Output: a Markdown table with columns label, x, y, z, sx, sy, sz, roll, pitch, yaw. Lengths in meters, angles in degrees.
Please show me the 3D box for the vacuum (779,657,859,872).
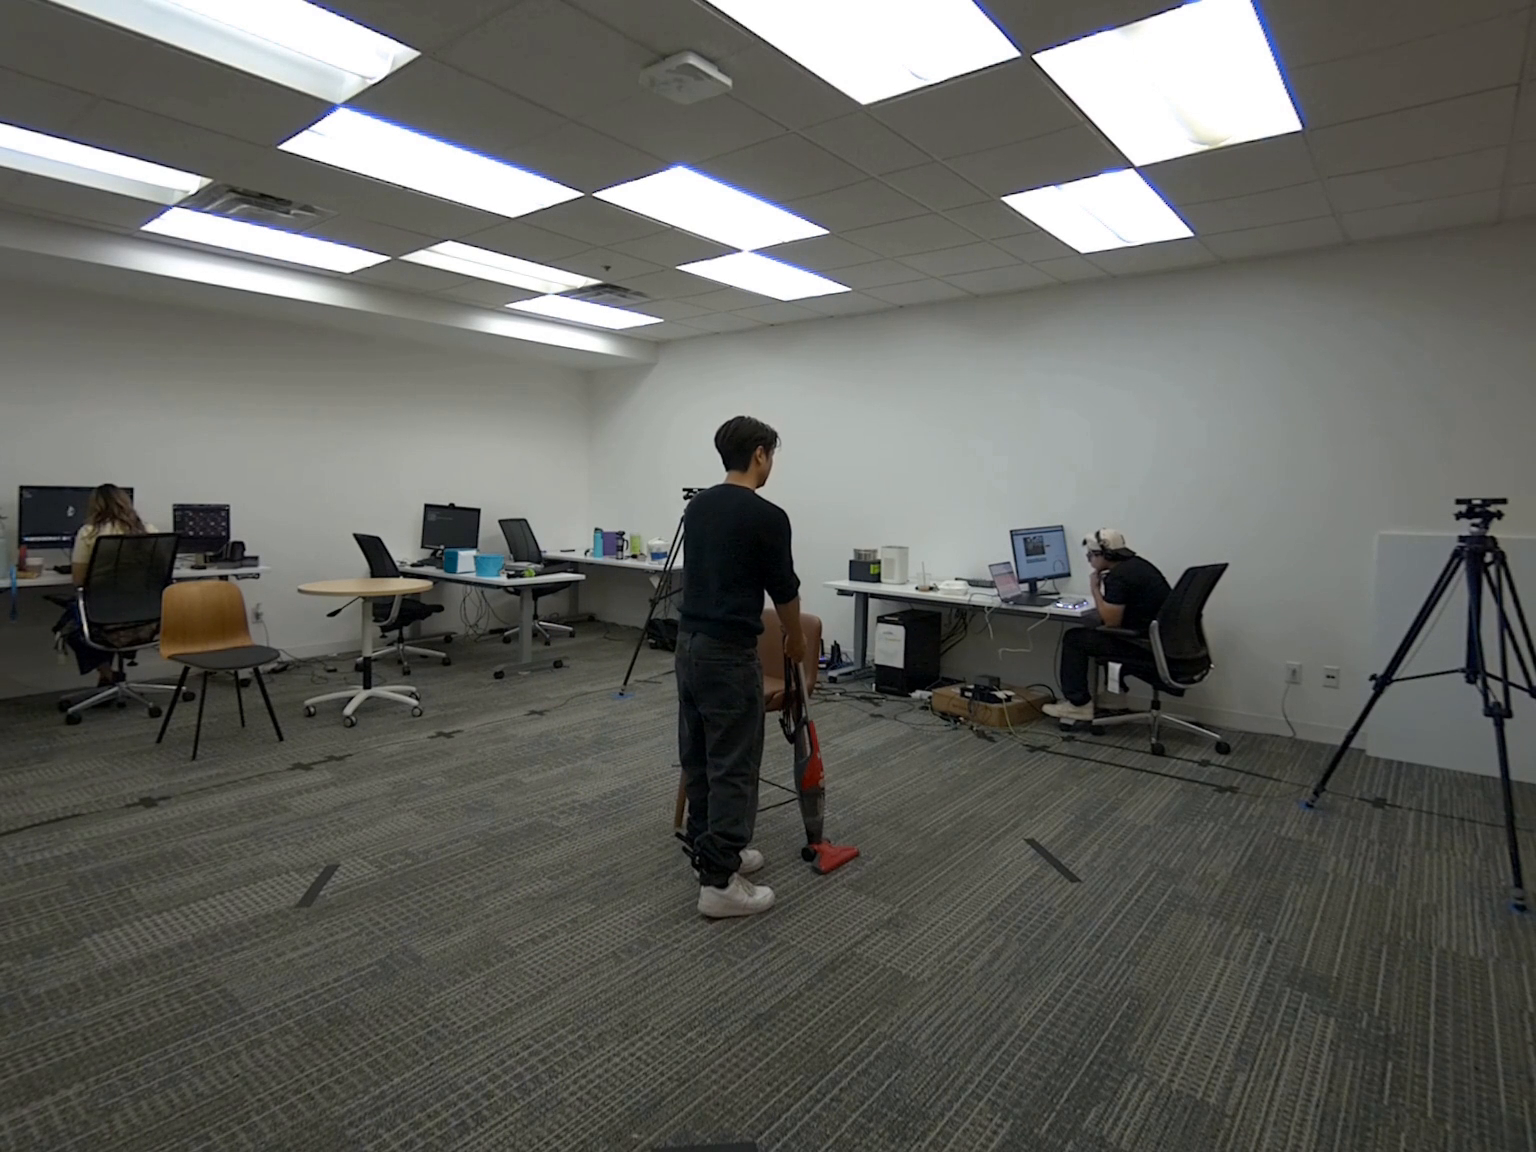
| label | x | y | z | sx | sy | sz | roll | pitch | yaw |
| --- | --- | --- | --- | --- | --- | --- | --- | --- | --- |
| vacuum | 0.111 | 0.543 | 3.298 | 0.147 | 1.058 | 0.245 | -14 | -9 | 39 |
